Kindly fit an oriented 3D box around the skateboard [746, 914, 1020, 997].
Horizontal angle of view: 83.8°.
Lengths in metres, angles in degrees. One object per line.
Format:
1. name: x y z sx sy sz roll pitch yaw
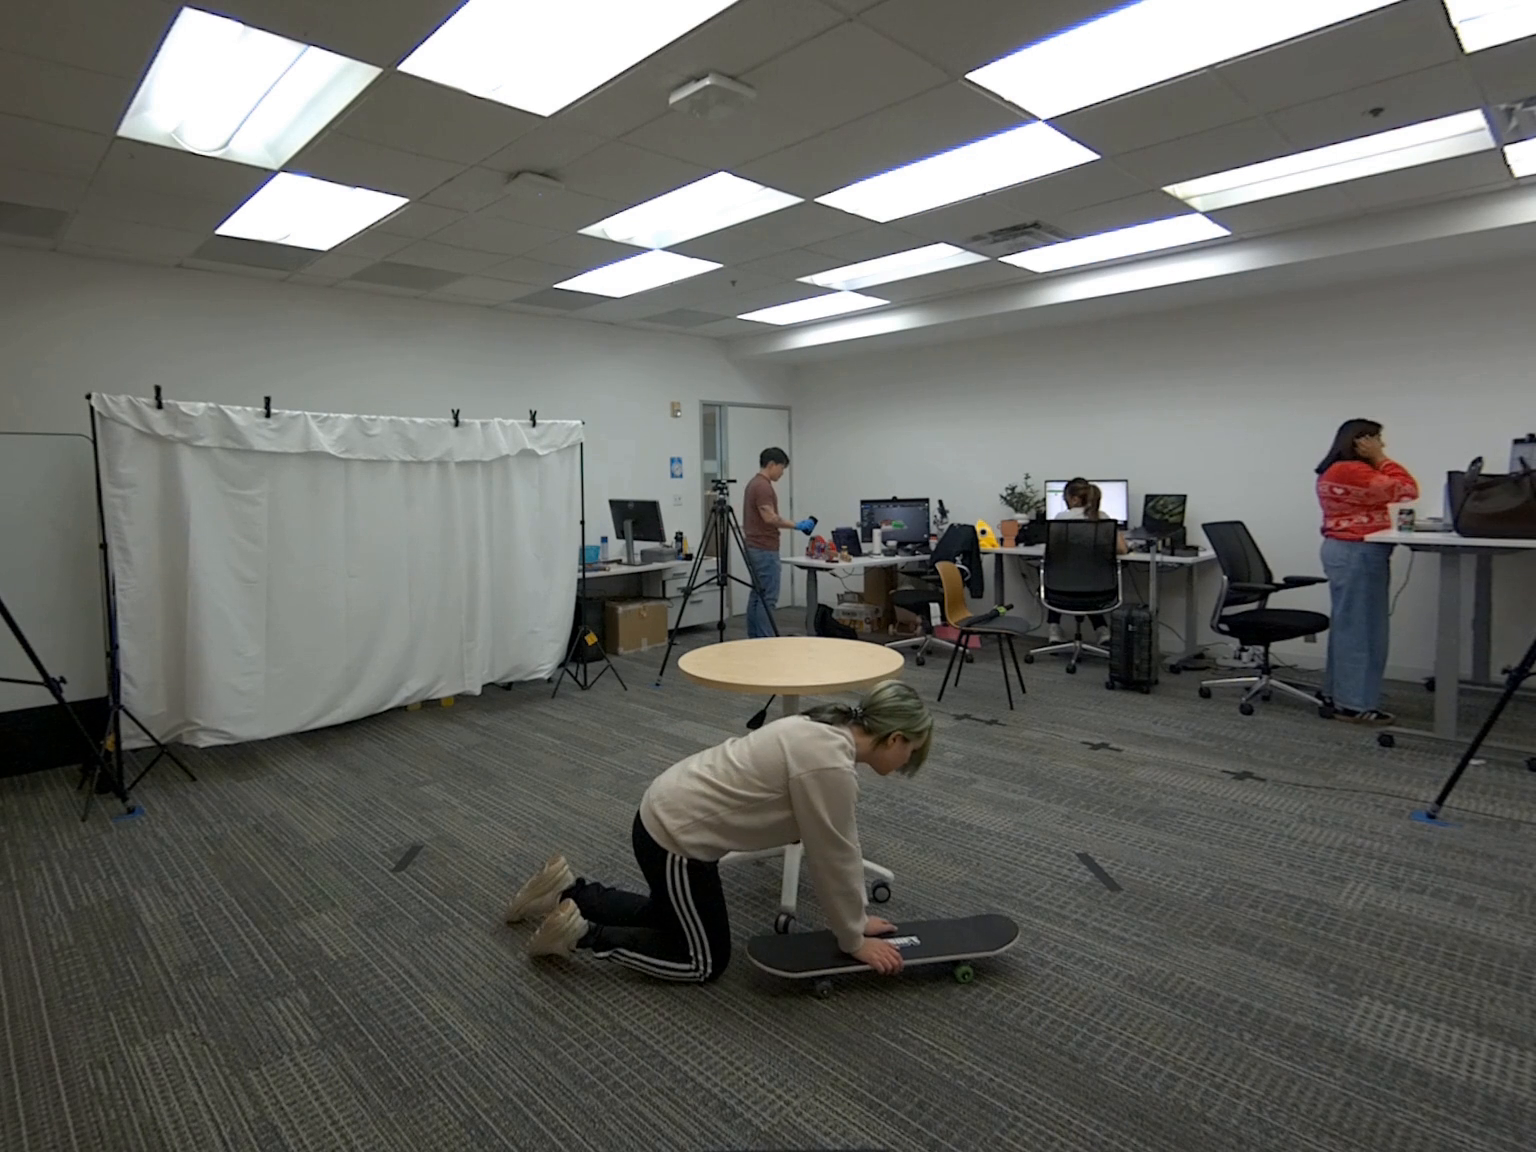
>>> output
1. skateboard: 0.330 1.055 2.410 0.780 0.110 0.196 -2 6 -7
